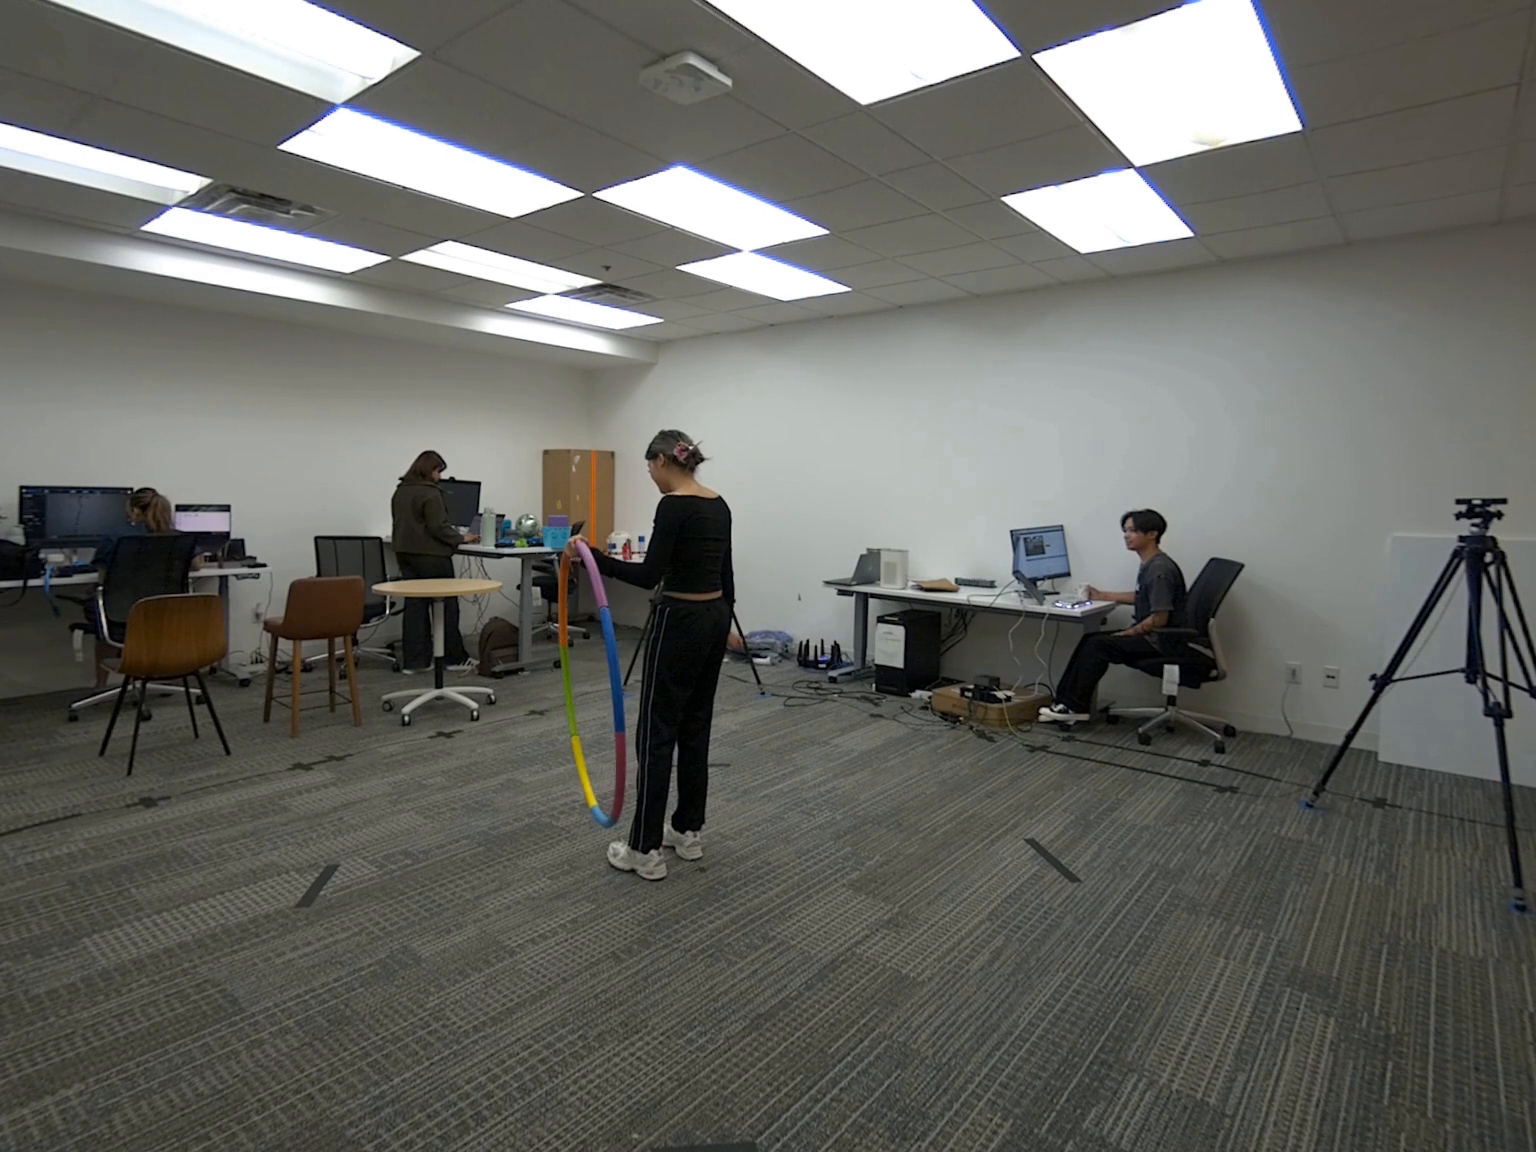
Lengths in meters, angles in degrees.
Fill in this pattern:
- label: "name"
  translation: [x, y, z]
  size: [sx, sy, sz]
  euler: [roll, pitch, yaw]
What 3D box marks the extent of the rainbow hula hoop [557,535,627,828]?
- label: "rainbow hula hoop"
  translation: [-0.644, 0.360, 2.981]
  size: [0.035, 0.974, 1.004]
  euler: [-5, 6, -23]
